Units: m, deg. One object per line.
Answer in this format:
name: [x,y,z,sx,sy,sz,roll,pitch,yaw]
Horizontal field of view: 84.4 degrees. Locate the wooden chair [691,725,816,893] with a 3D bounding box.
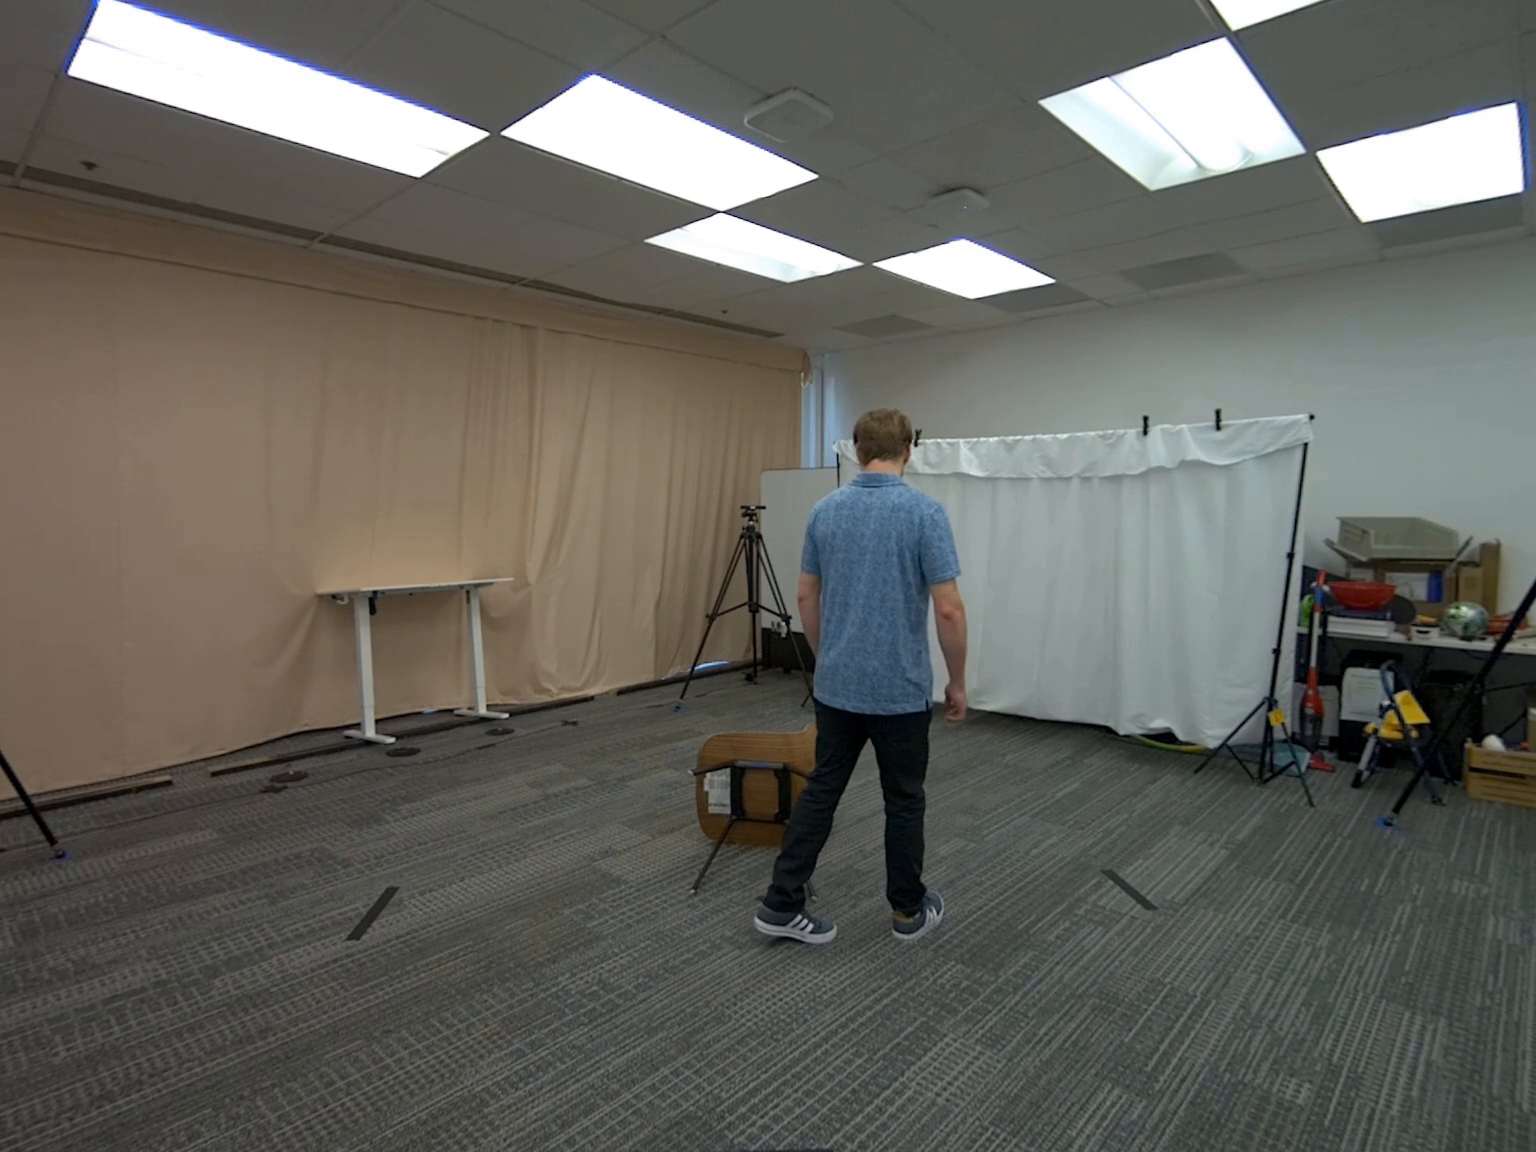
wooden chair: [-0.034,0.879,3.395,0.529,0.476,0.870,0,5,10]
